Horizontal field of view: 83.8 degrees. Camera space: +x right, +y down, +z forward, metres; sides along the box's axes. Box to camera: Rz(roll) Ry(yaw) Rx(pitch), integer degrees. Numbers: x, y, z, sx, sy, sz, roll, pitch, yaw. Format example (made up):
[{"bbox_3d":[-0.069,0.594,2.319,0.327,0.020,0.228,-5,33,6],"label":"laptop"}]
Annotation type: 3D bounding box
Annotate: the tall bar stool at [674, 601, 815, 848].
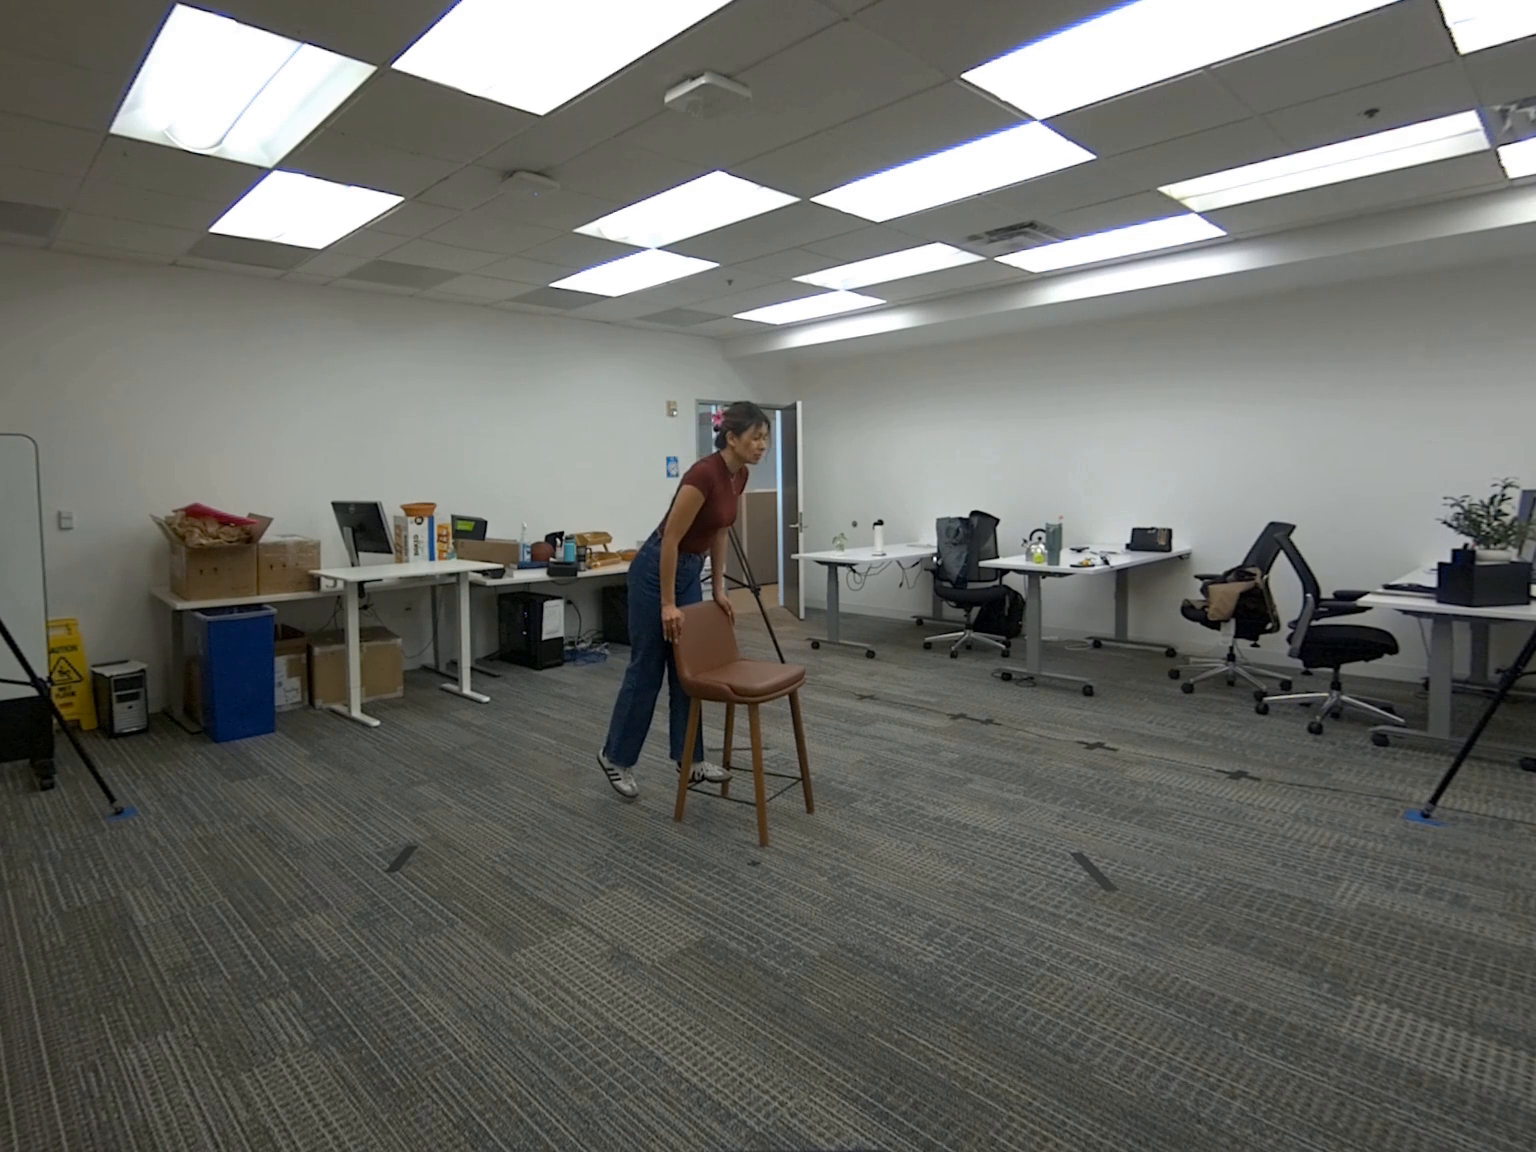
[{"bbox_3d":[-0.114,0.562,3.510,0.480,0.888,0.445,-1,3,33],"label":"tall bar stool"}]
